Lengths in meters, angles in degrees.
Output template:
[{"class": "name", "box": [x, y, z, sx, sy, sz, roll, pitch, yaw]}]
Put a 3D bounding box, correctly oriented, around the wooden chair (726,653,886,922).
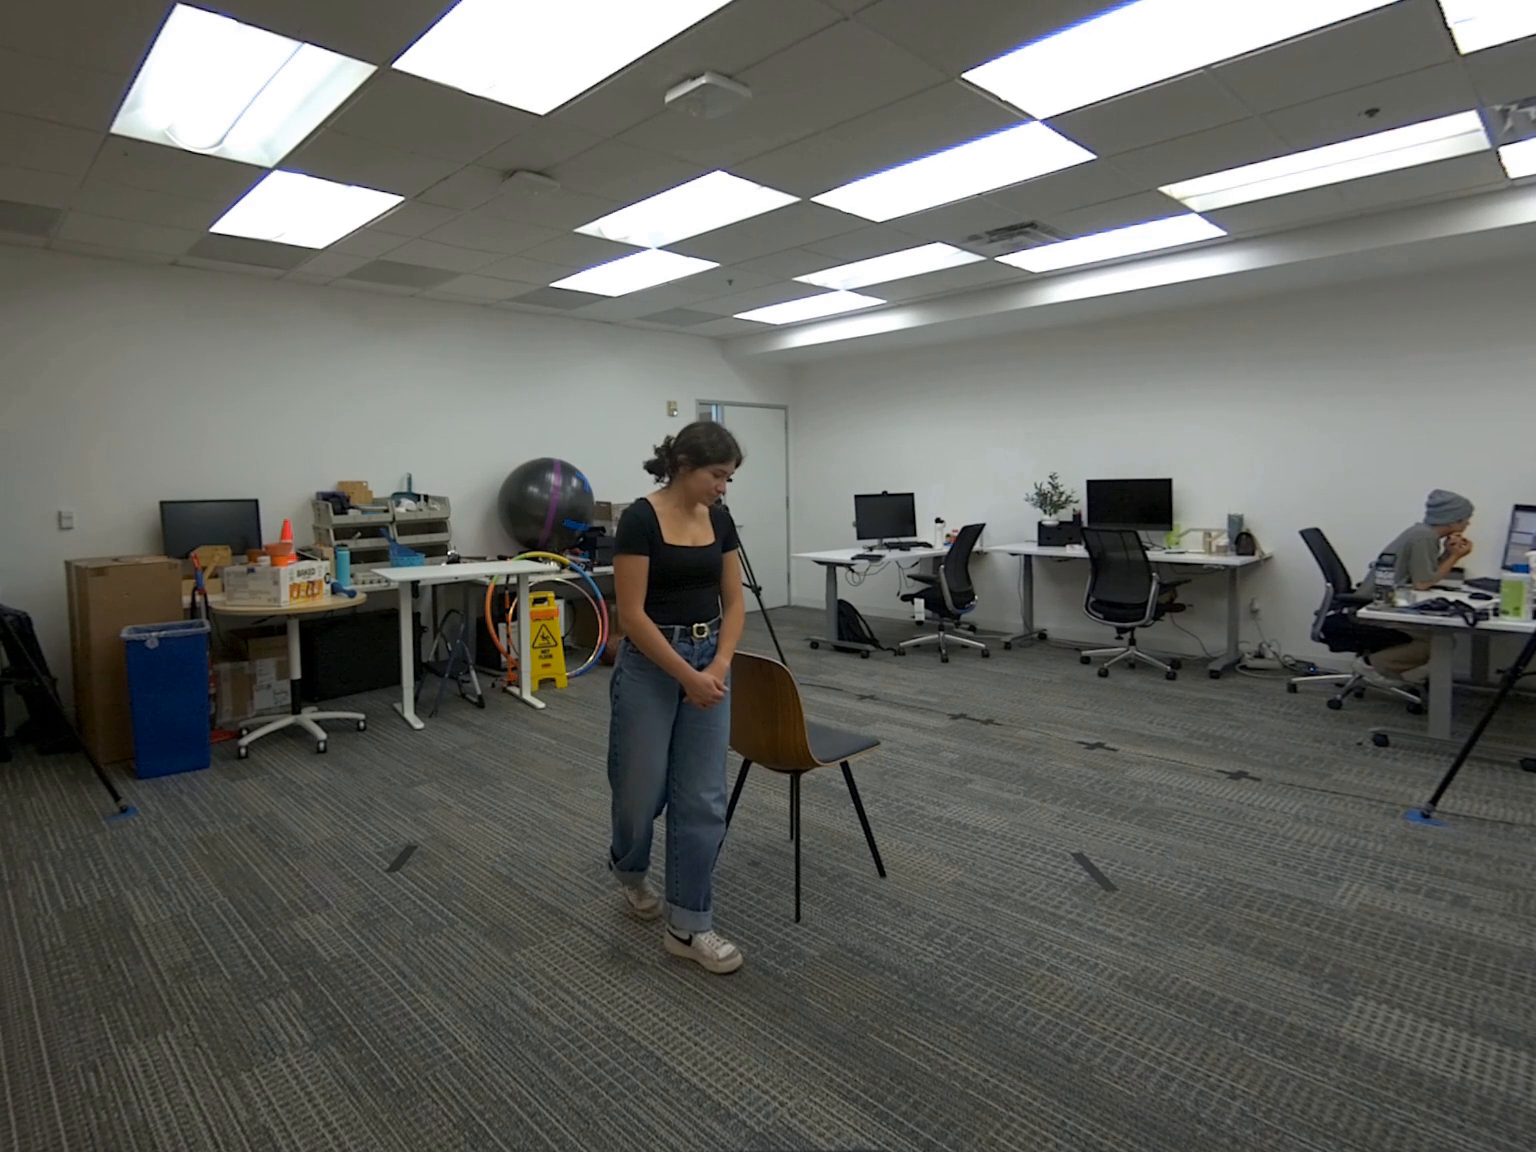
[{"class": "wooden chair", "box": [0.096, 0.632, 2.973, 0.511, 0.871, 0.493, -11, 10, -43]}]
